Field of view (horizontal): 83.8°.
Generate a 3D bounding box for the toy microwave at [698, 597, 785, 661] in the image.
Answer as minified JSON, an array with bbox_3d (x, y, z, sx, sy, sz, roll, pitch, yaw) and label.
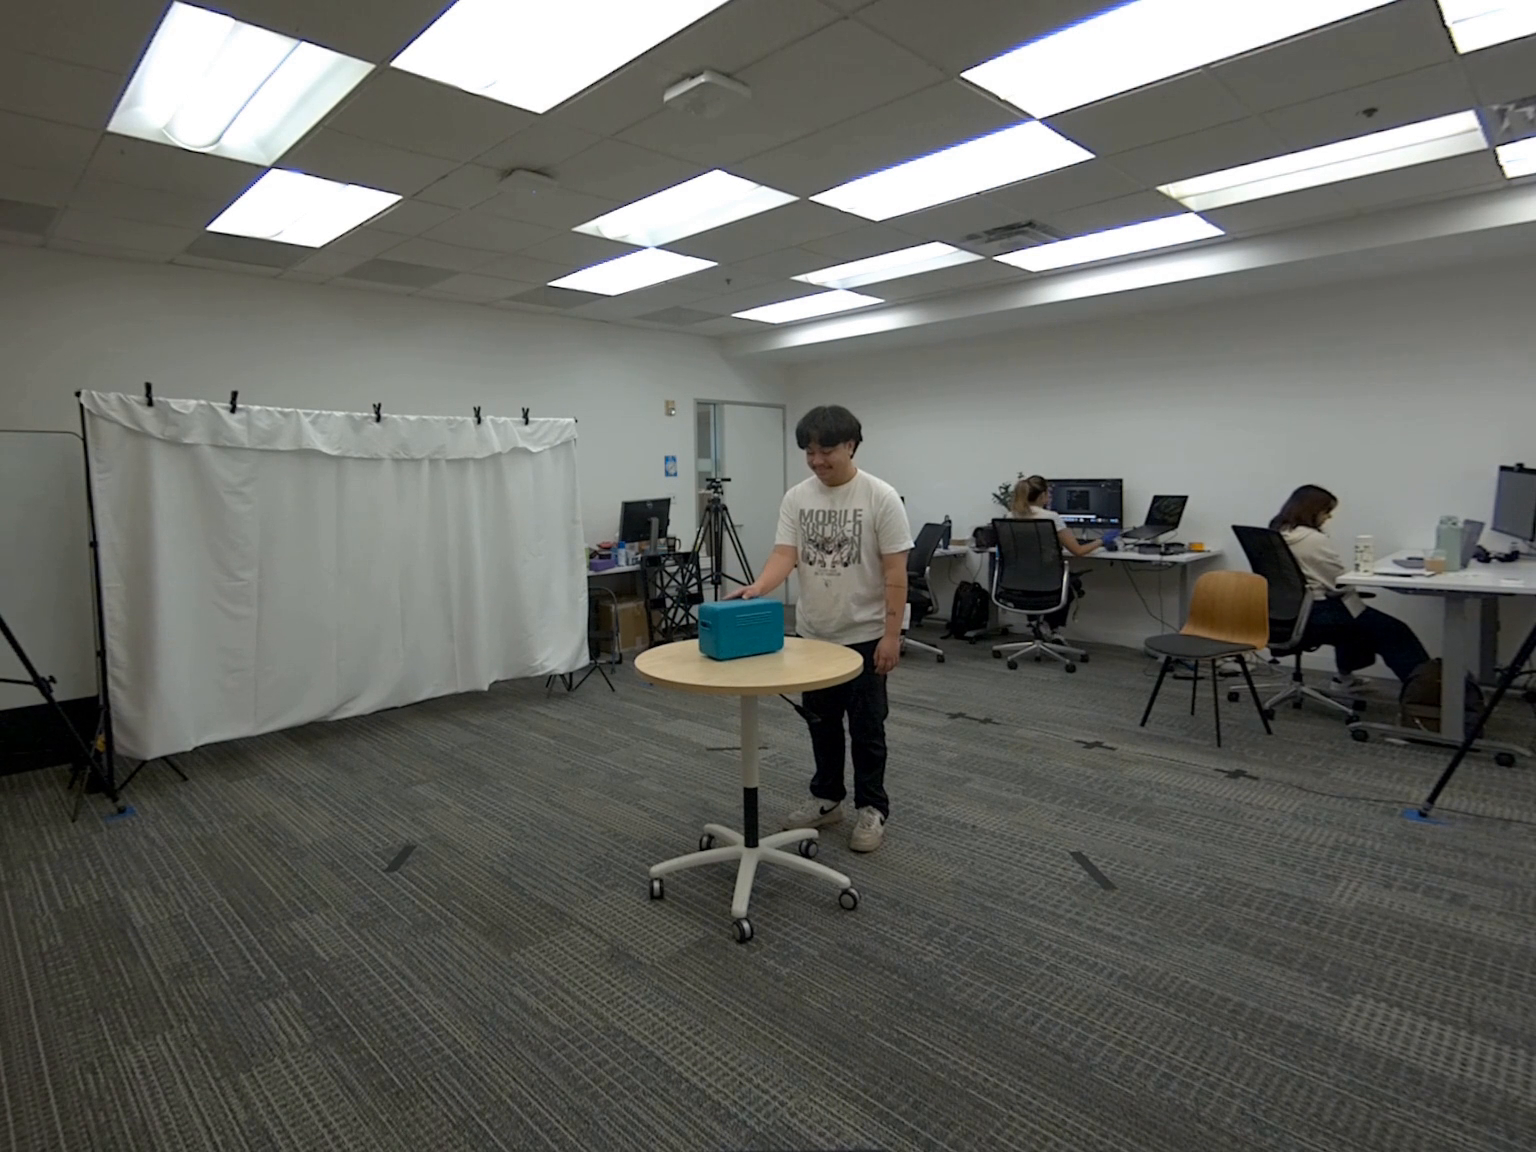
[{"bbox_3d":[-0.096,0.177,2.946,0.279,0.183,0.157,-5,6,-32],"label":"toy microwave"}]
